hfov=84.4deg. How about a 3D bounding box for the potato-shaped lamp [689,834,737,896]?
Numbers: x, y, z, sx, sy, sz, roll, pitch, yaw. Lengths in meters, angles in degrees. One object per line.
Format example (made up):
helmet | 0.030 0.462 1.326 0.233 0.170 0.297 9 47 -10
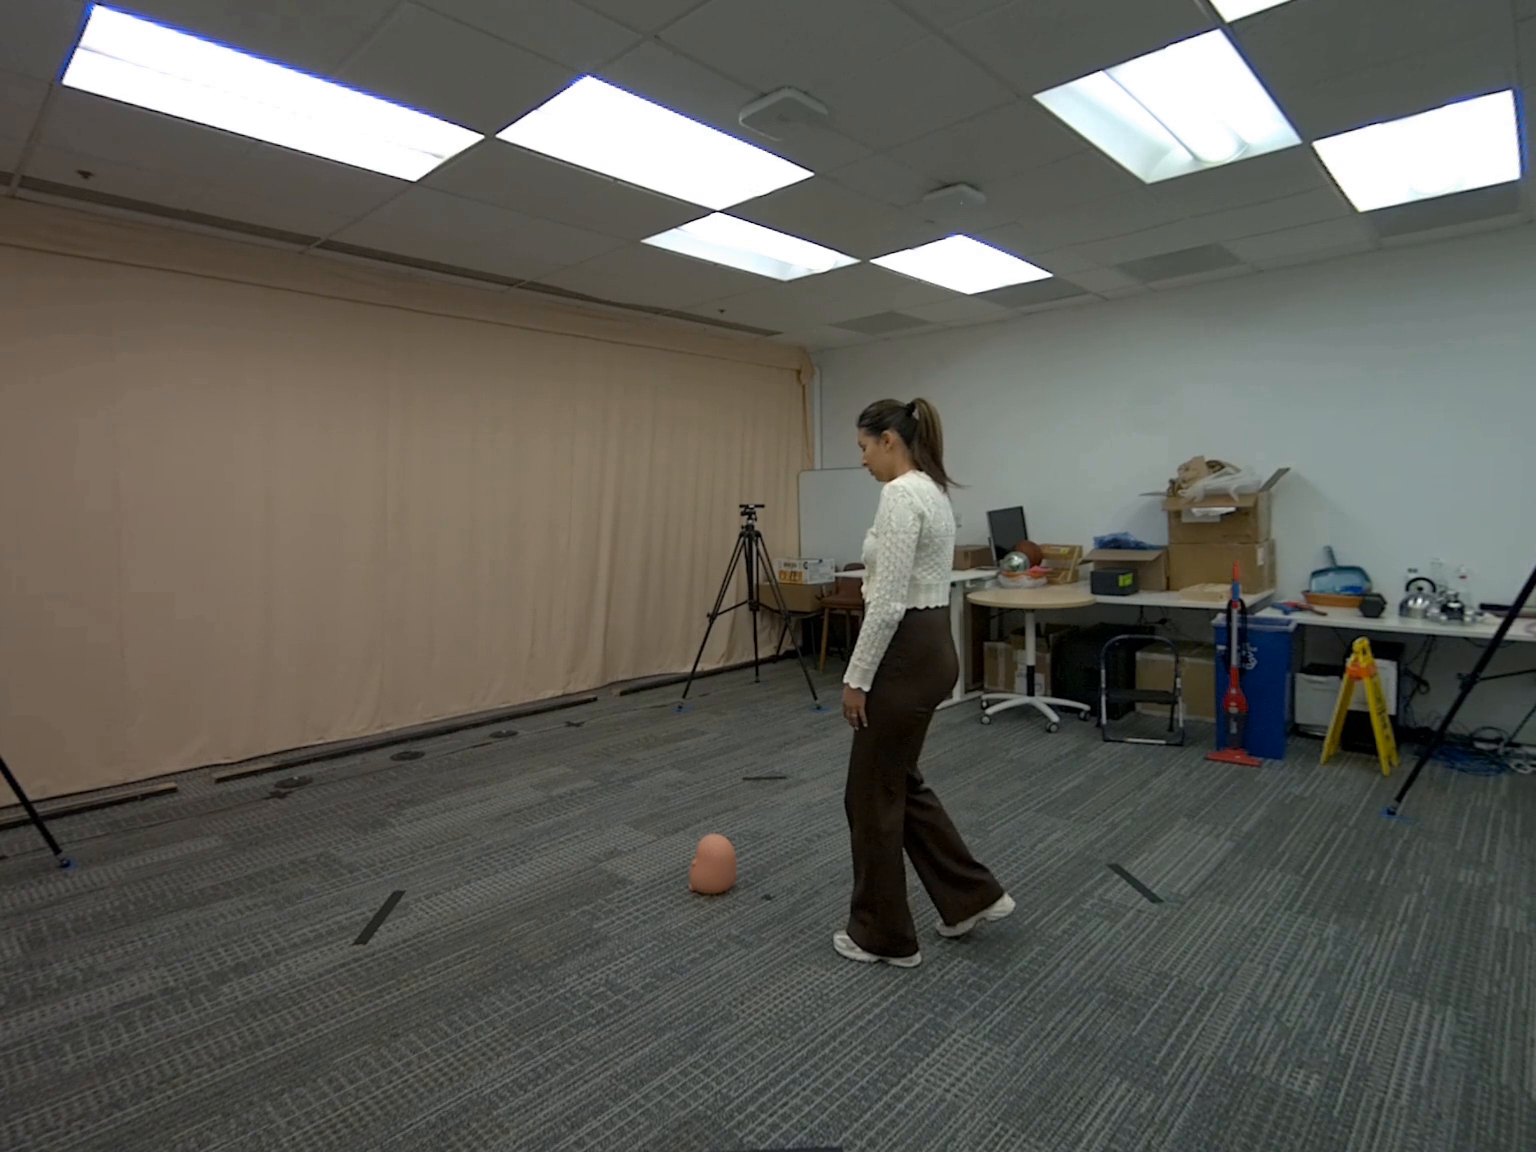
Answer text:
potato-shaped lamp | -0.200 1.039 3.051 0.176 0.197 0.161 3 5 27
